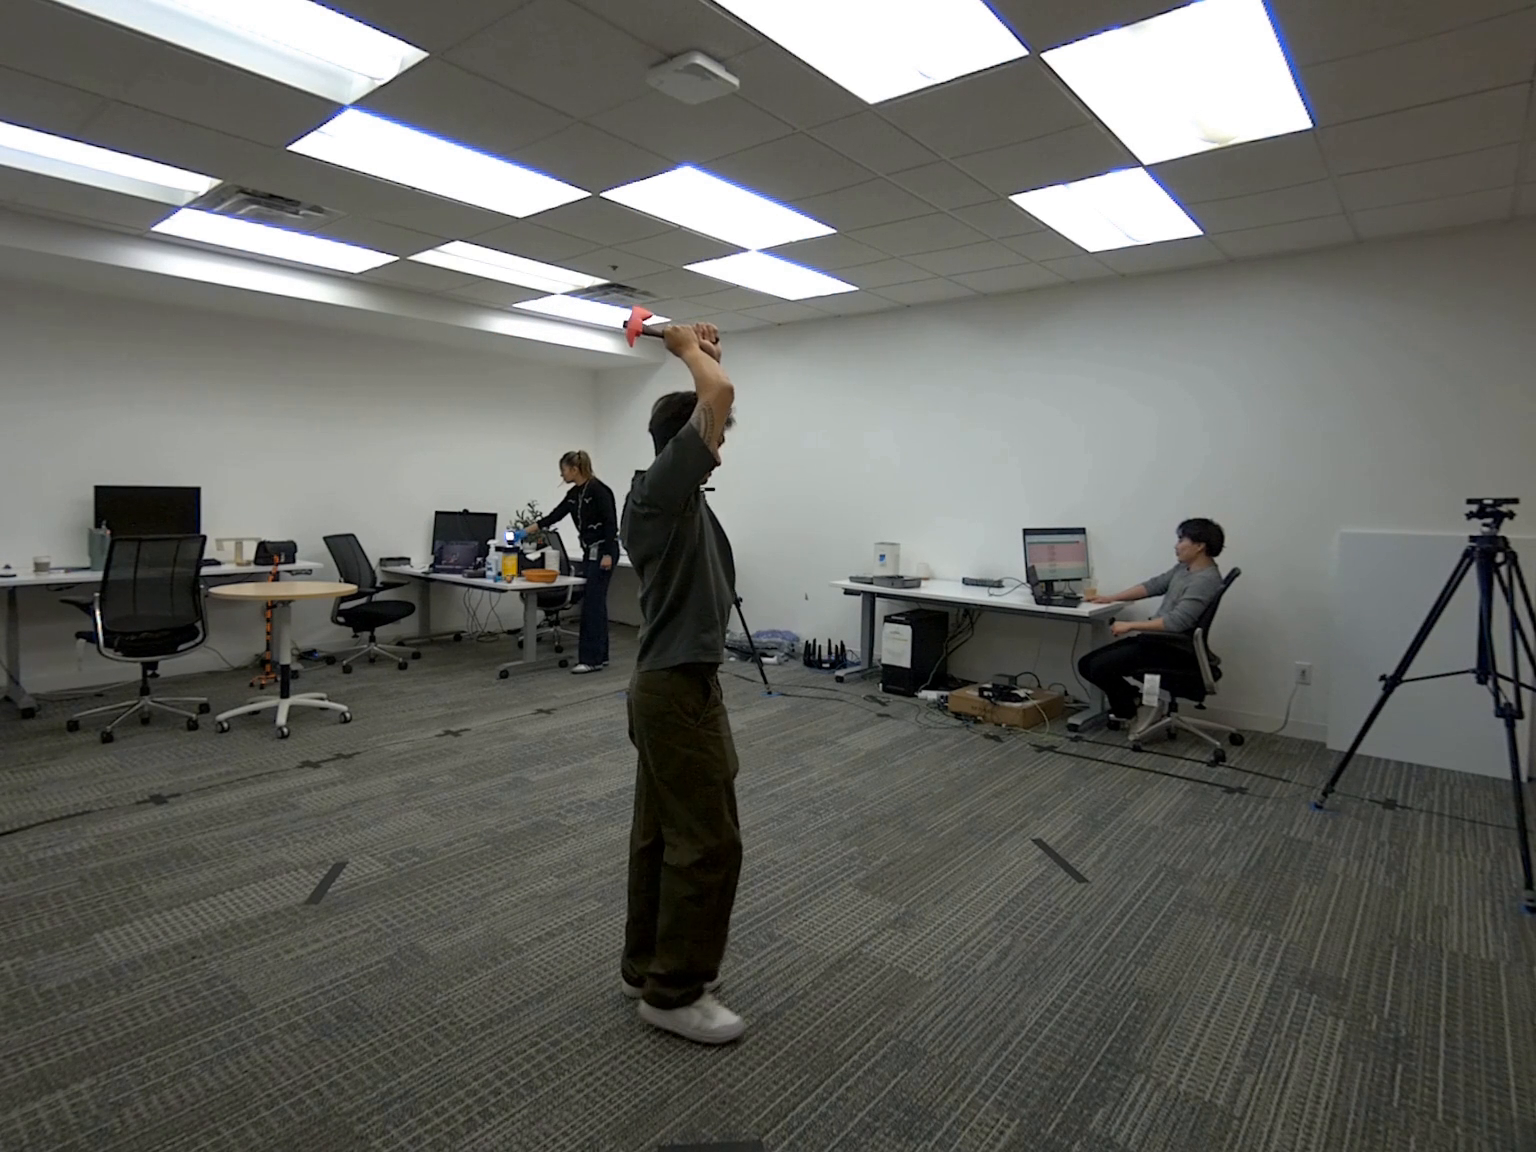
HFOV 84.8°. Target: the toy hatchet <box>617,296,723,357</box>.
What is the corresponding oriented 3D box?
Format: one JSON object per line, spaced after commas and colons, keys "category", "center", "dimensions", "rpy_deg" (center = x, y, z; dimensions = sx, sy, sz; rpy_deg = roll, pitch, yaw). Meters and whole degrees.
{"category": "toy hatchet", "center": [-0.275, -0.697, 2.345], "dimensions": [0.267, 0.133, 0.029], "rpy_deg": [-11, -13, -11]}
